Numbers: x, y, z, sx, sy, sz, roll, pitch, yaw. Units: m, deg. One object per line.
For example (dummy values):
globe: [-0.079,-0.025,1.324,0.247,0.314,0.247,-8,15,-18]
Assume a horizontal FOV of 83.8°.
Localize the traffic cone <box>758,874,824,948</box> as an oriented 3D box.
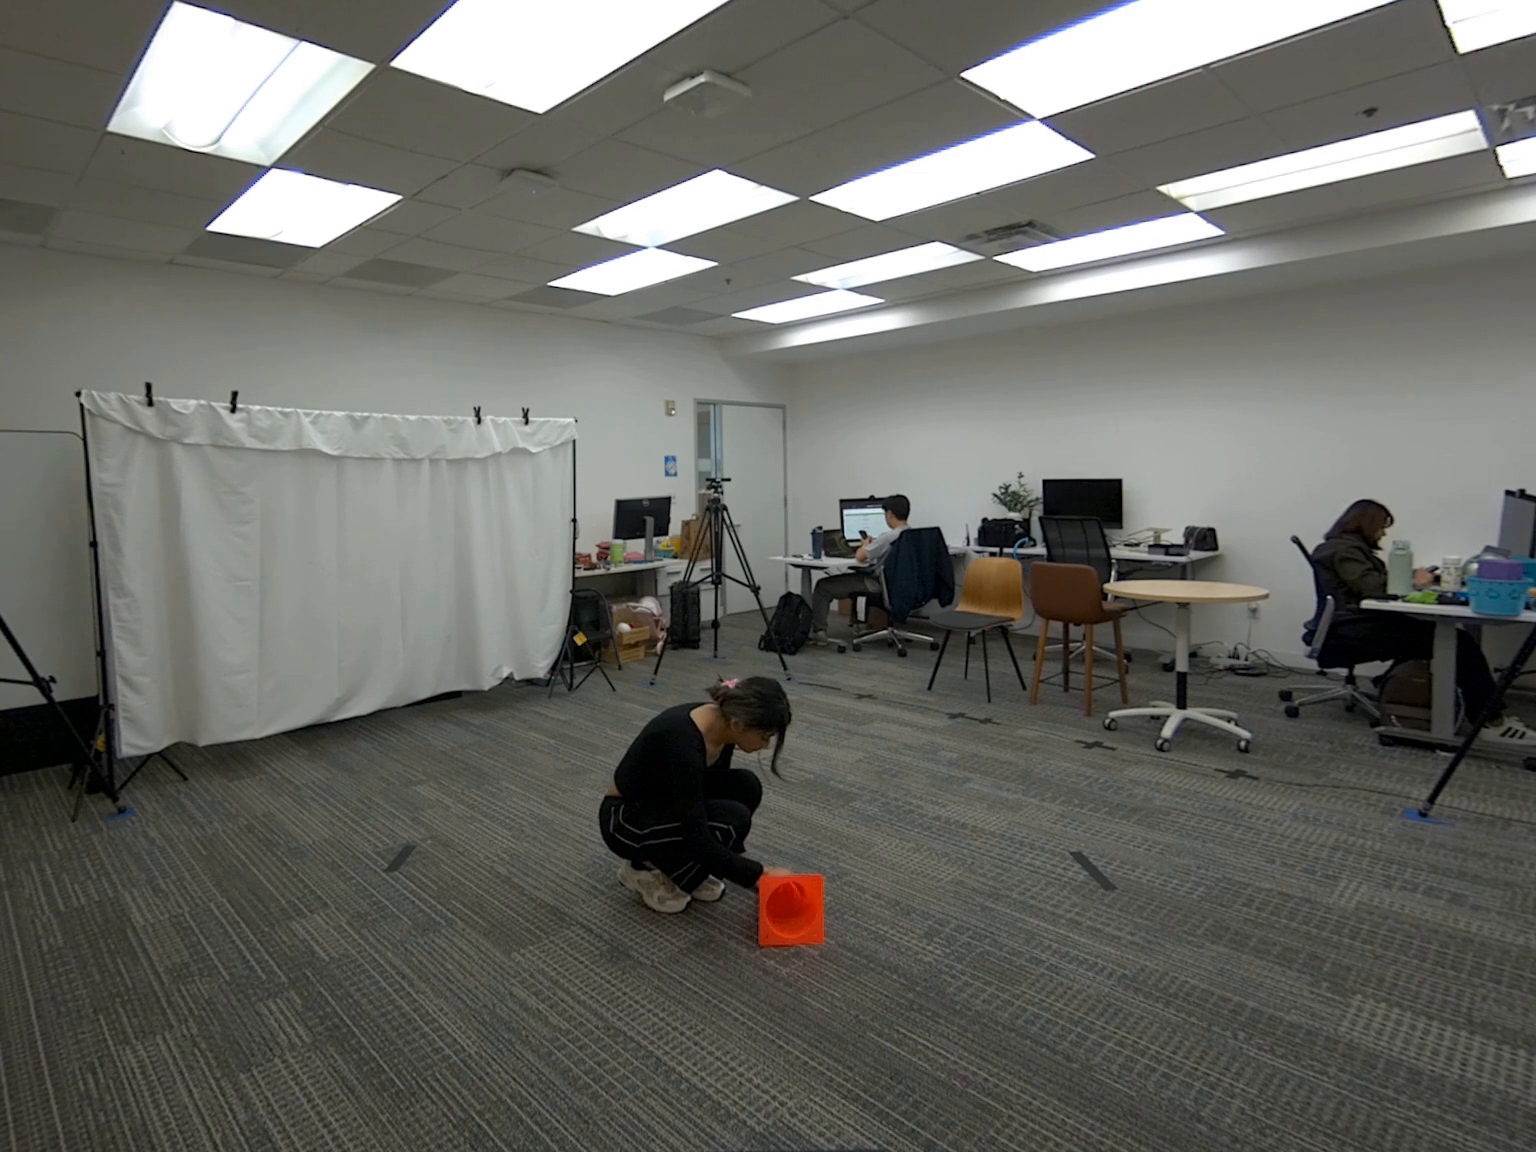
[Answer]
traffic cone: [0.026,1.018,2.759,0.201,0.206,0.385,3,-8,-12]
